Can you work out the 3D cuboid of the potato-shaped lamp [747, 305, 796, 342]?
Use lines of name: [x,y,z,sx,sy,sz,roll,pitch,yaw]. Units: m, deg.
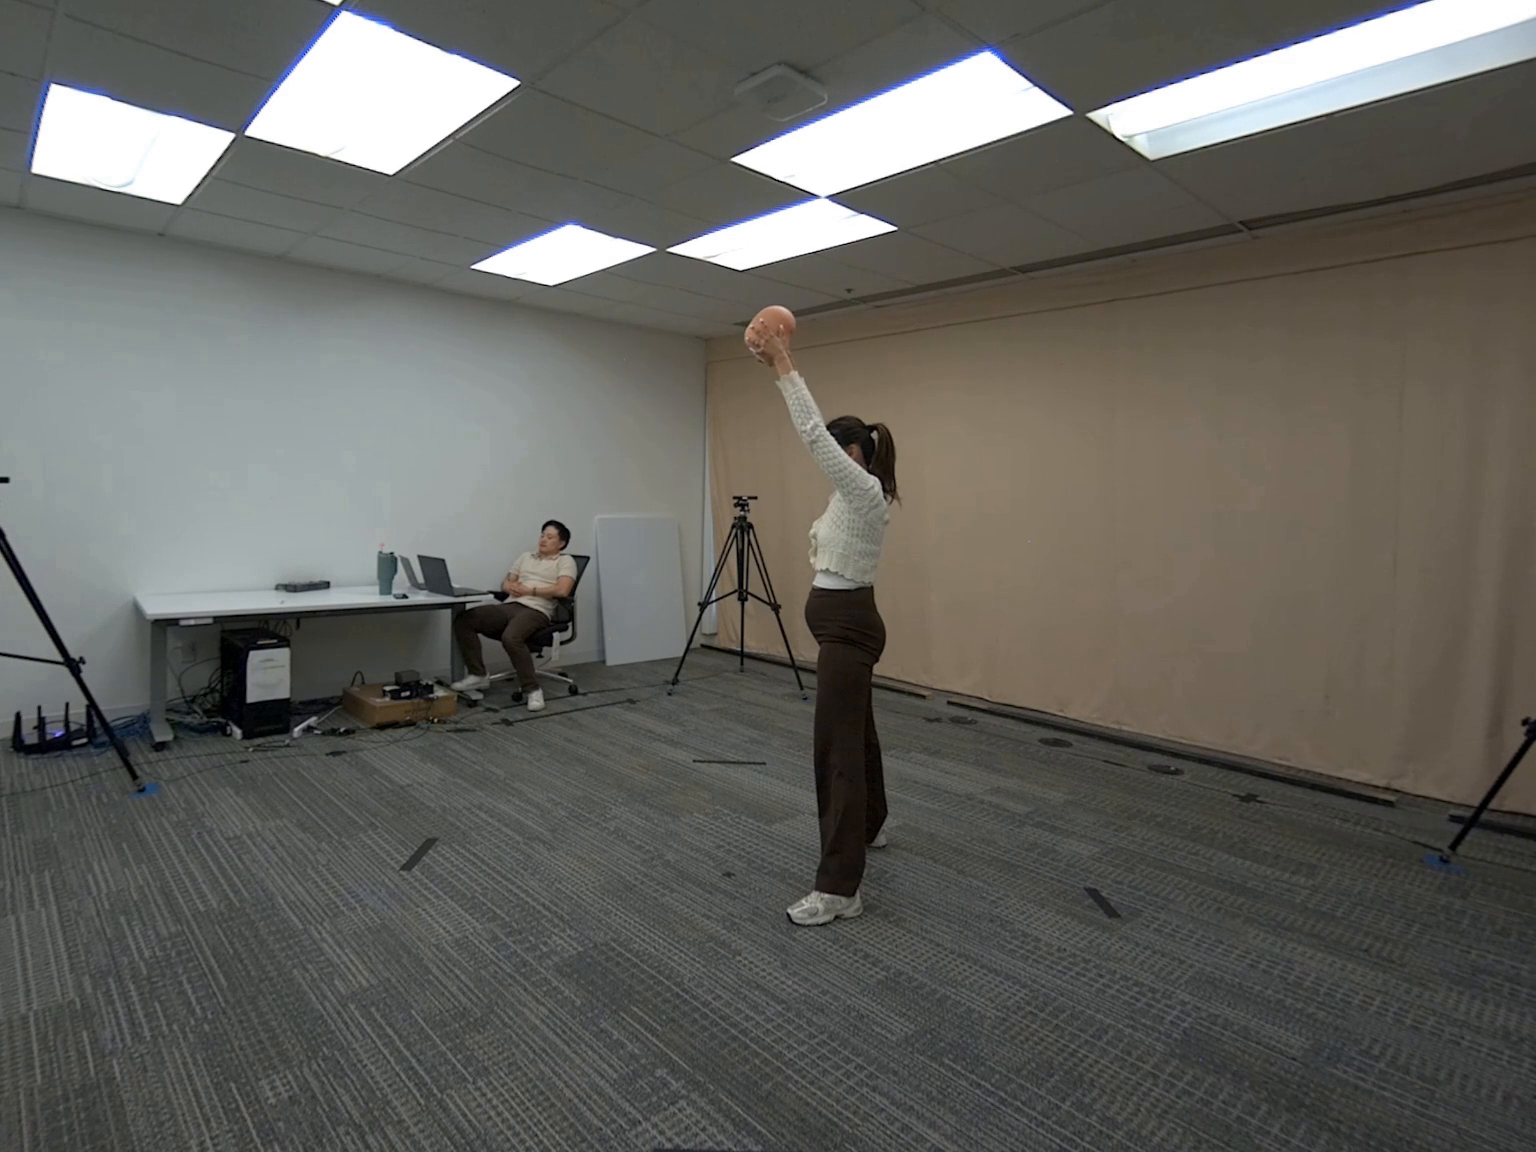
potato-shaped lamp: [0.006,-0.893,3.108,0.172,0.198,0.164,39,2,5]
